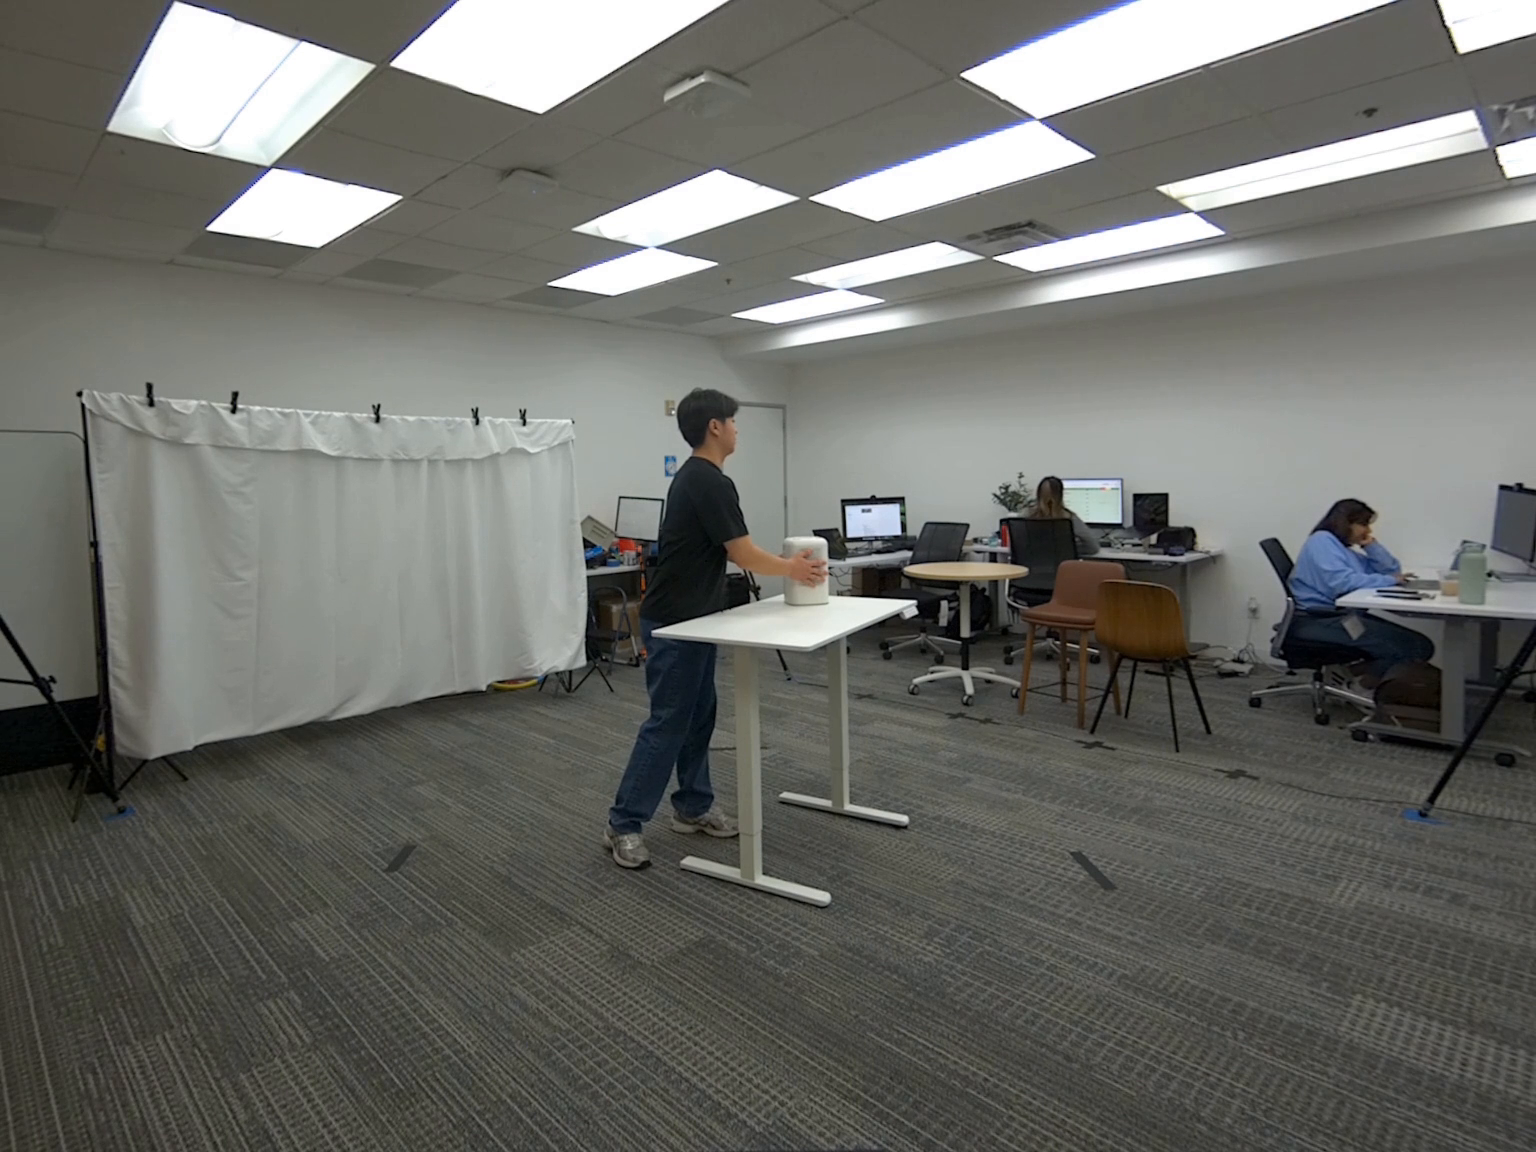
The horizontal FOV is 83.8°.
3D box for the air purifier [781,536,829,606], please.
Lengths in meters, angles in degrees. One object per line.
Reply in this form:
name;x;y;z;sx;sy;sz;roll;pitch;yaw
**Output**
air purifier;0.153;-0.022;3.475;0.170;0.264;0.173;-3;6;-9
